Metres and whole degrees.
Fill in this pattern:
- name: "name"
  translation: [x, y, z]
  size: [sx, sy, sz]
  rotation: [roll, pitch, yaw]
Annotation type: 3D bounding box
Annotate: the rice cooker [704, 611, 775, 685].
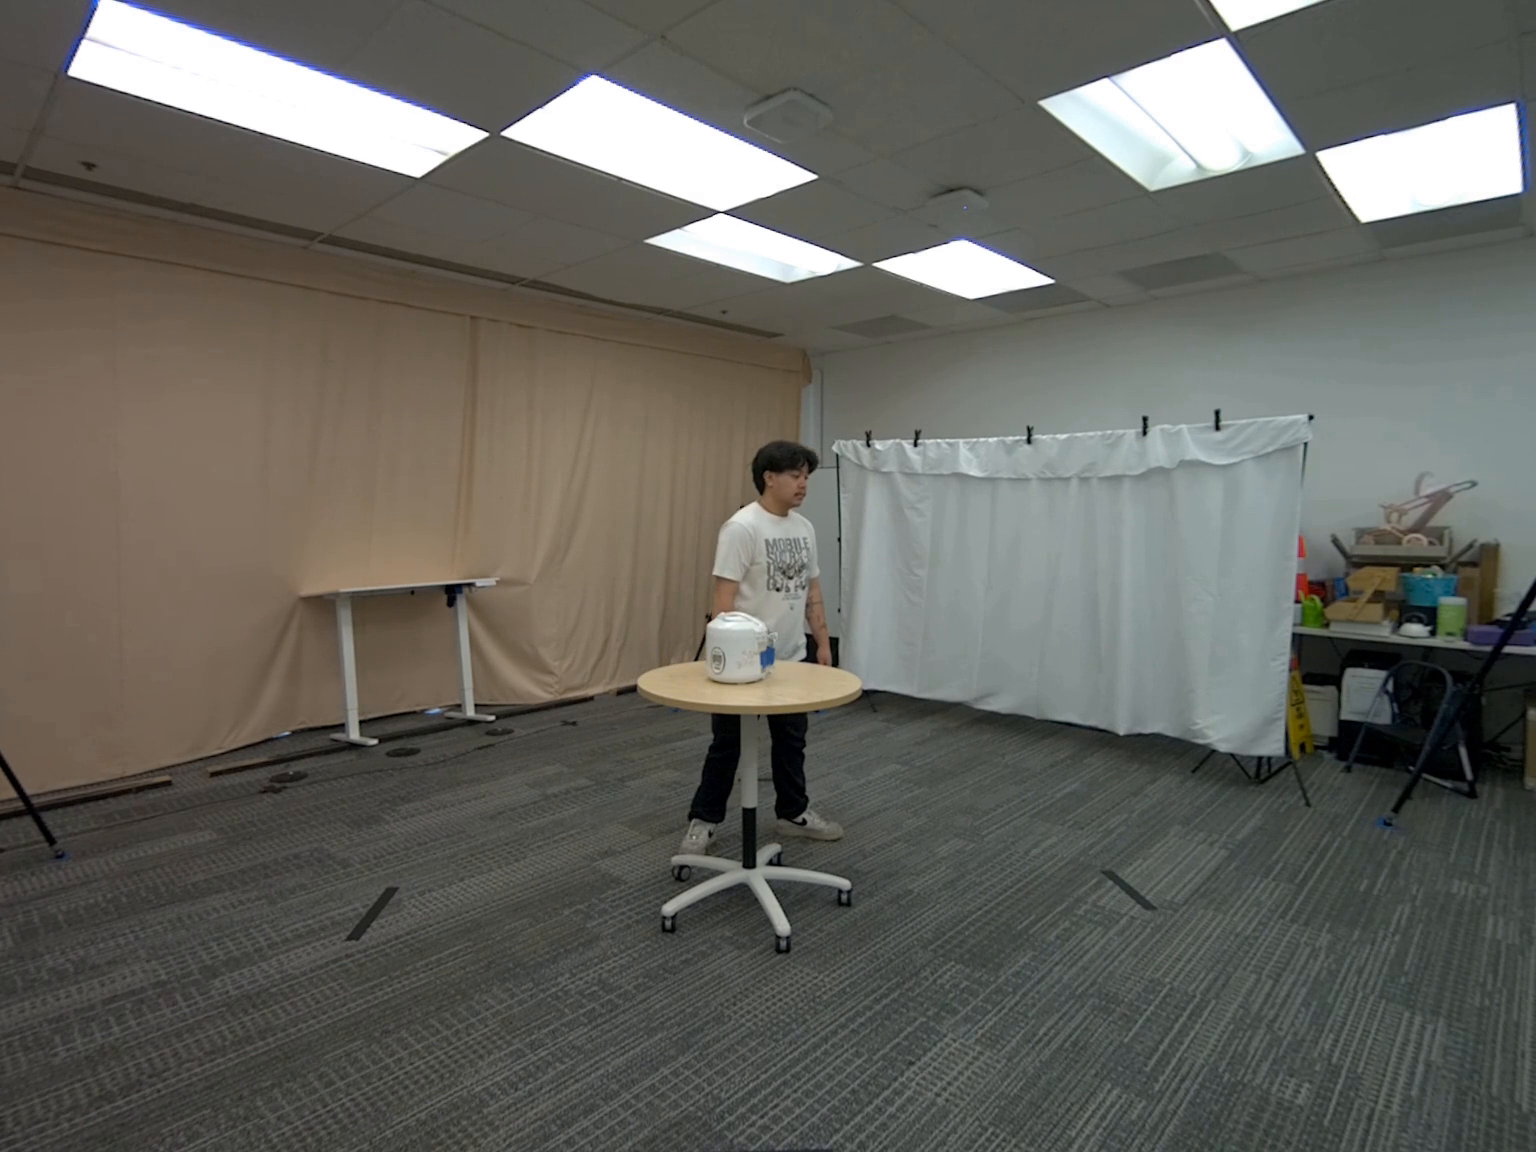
- name: "rice cooker"
  translation: [-0.109, 0.233, 2.885]
  size: [0.228, 0.232, 0.211]
  rotation: [4, 4, 36]
